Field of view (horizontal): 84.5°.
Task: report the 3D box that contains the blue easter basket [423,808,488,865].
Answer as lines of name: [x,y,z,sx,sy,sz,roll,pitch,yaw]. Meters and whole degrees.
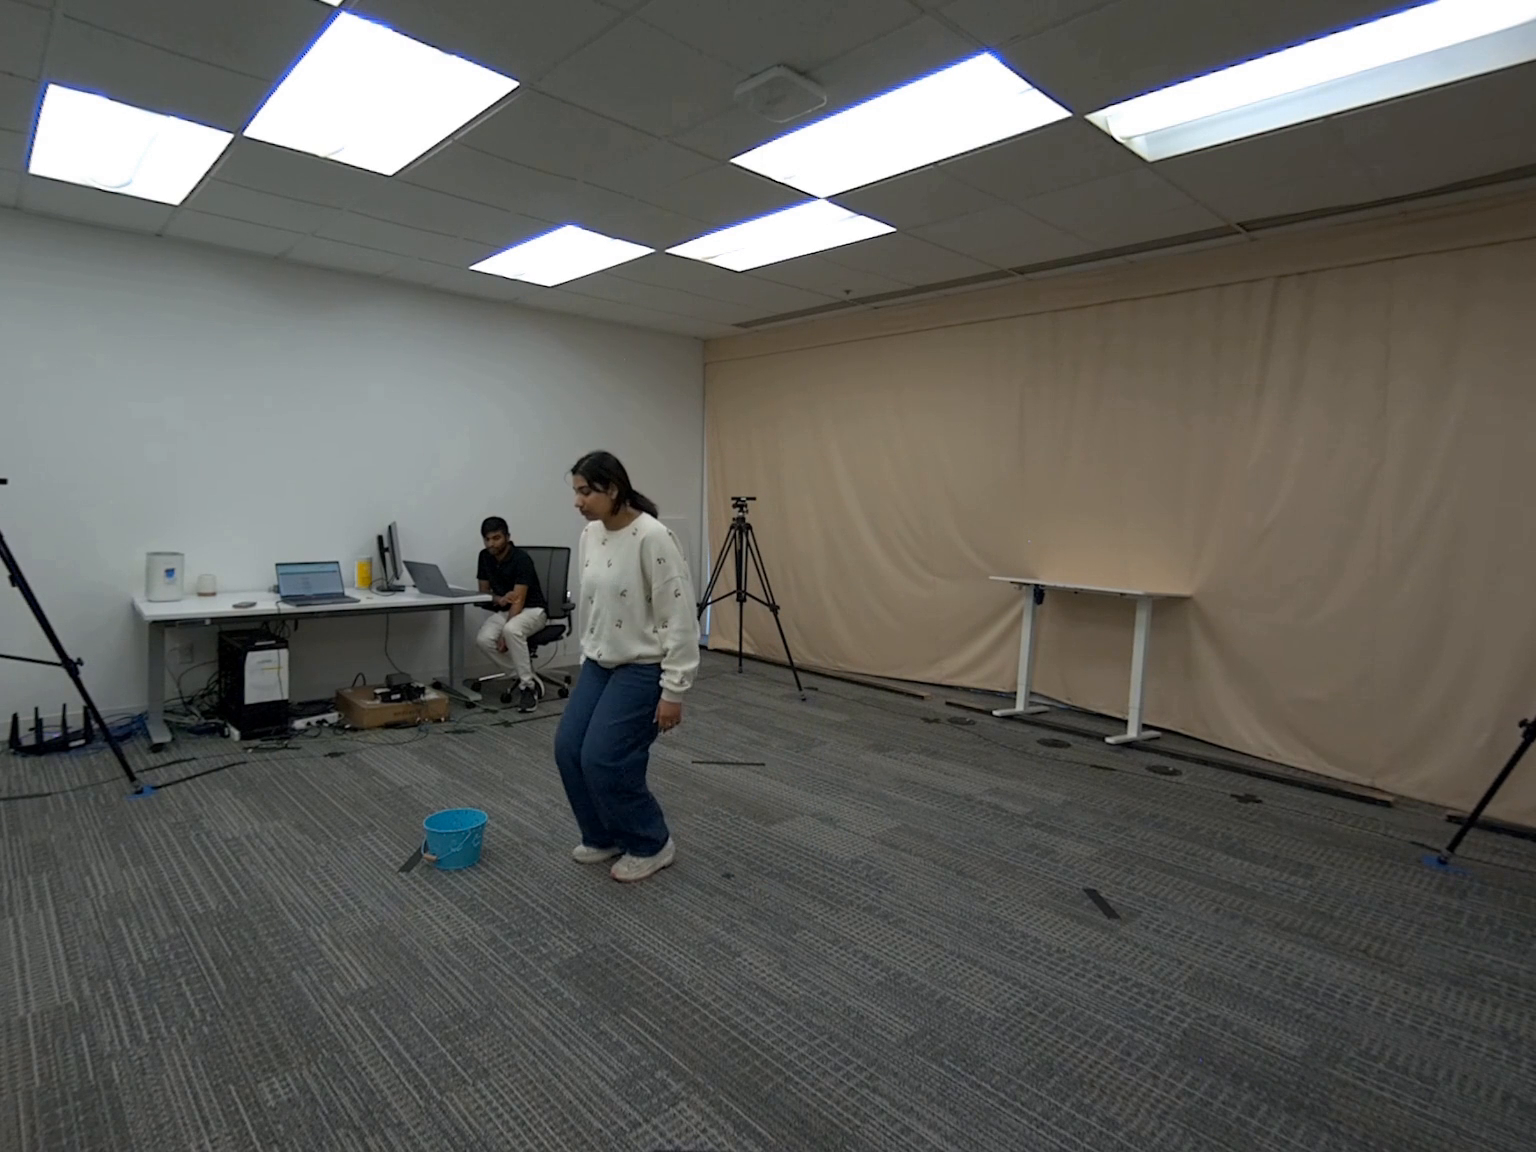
blue easter basket: [-1.176,0.991,3.195,0.243,0.155,0.244,2,5,-1]
